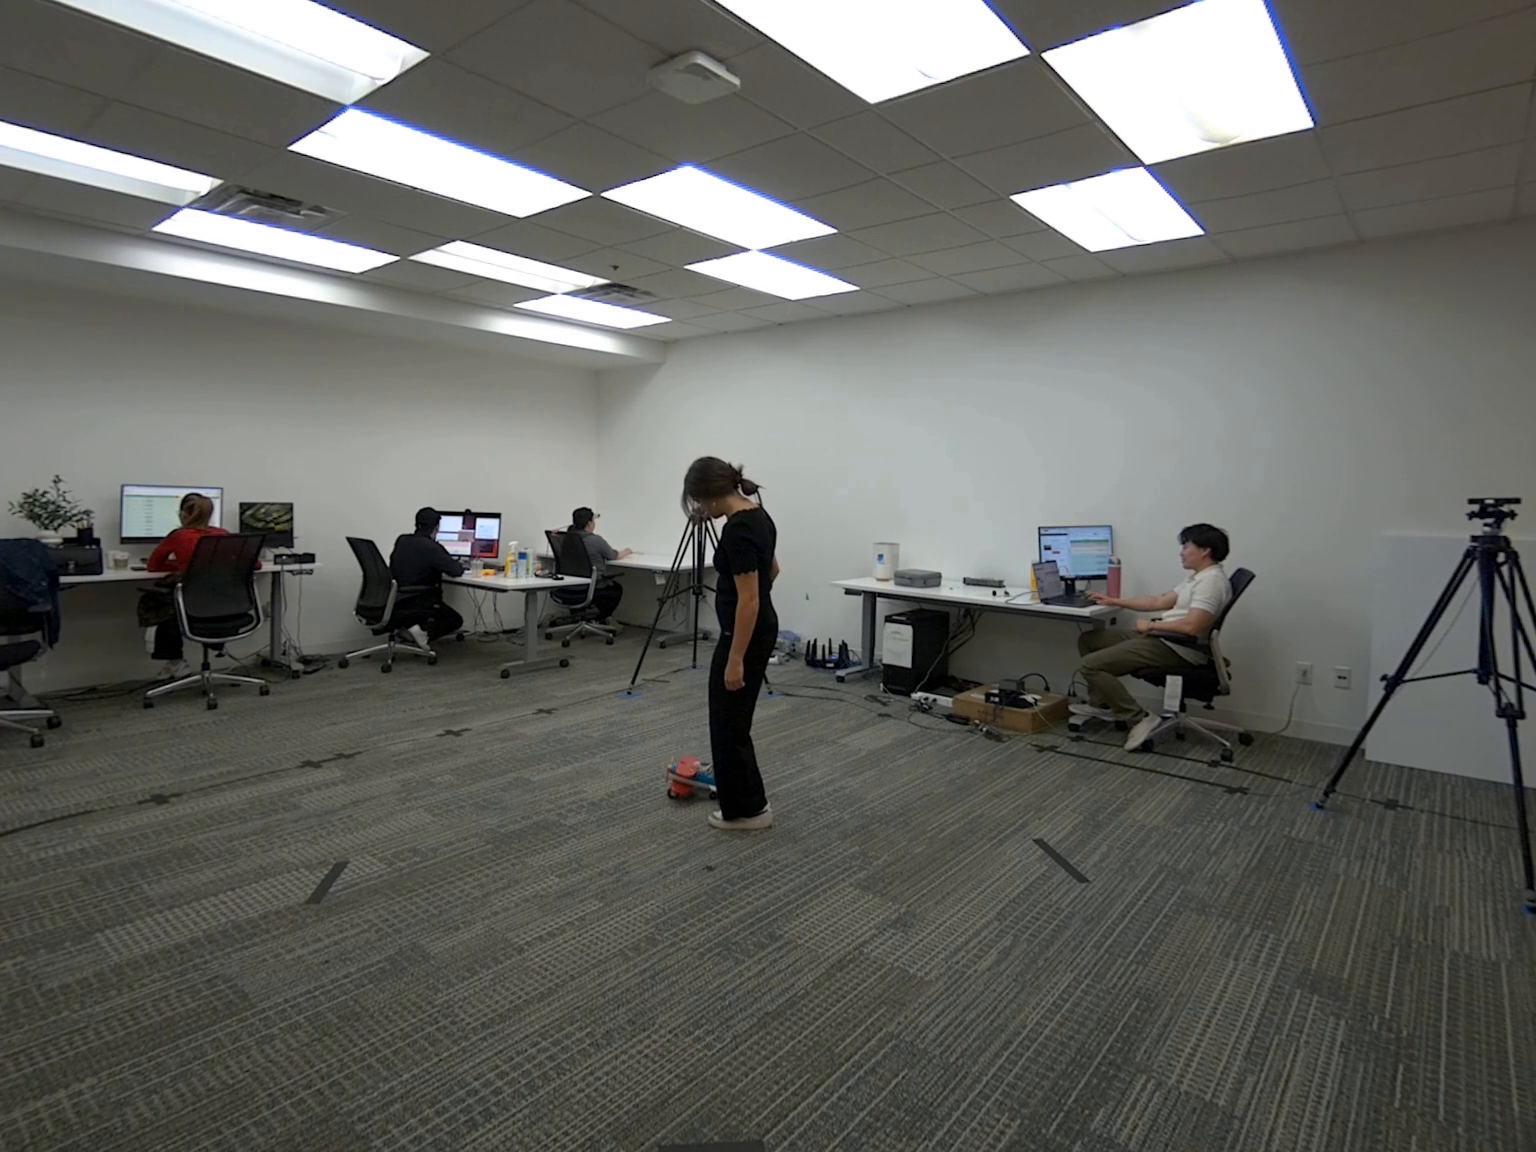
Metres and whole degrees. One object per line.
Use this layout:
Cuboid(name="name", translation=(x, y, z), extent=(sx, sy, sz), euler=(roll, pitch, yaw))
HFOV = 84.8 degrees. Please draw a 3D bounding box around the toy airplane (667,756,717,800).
Cuboid(name="toy airplane", translation=(-0.346, 0.914, 3.849), extent=(0.254, 0.156, 0.257), euler=(-2, 6, -21))
